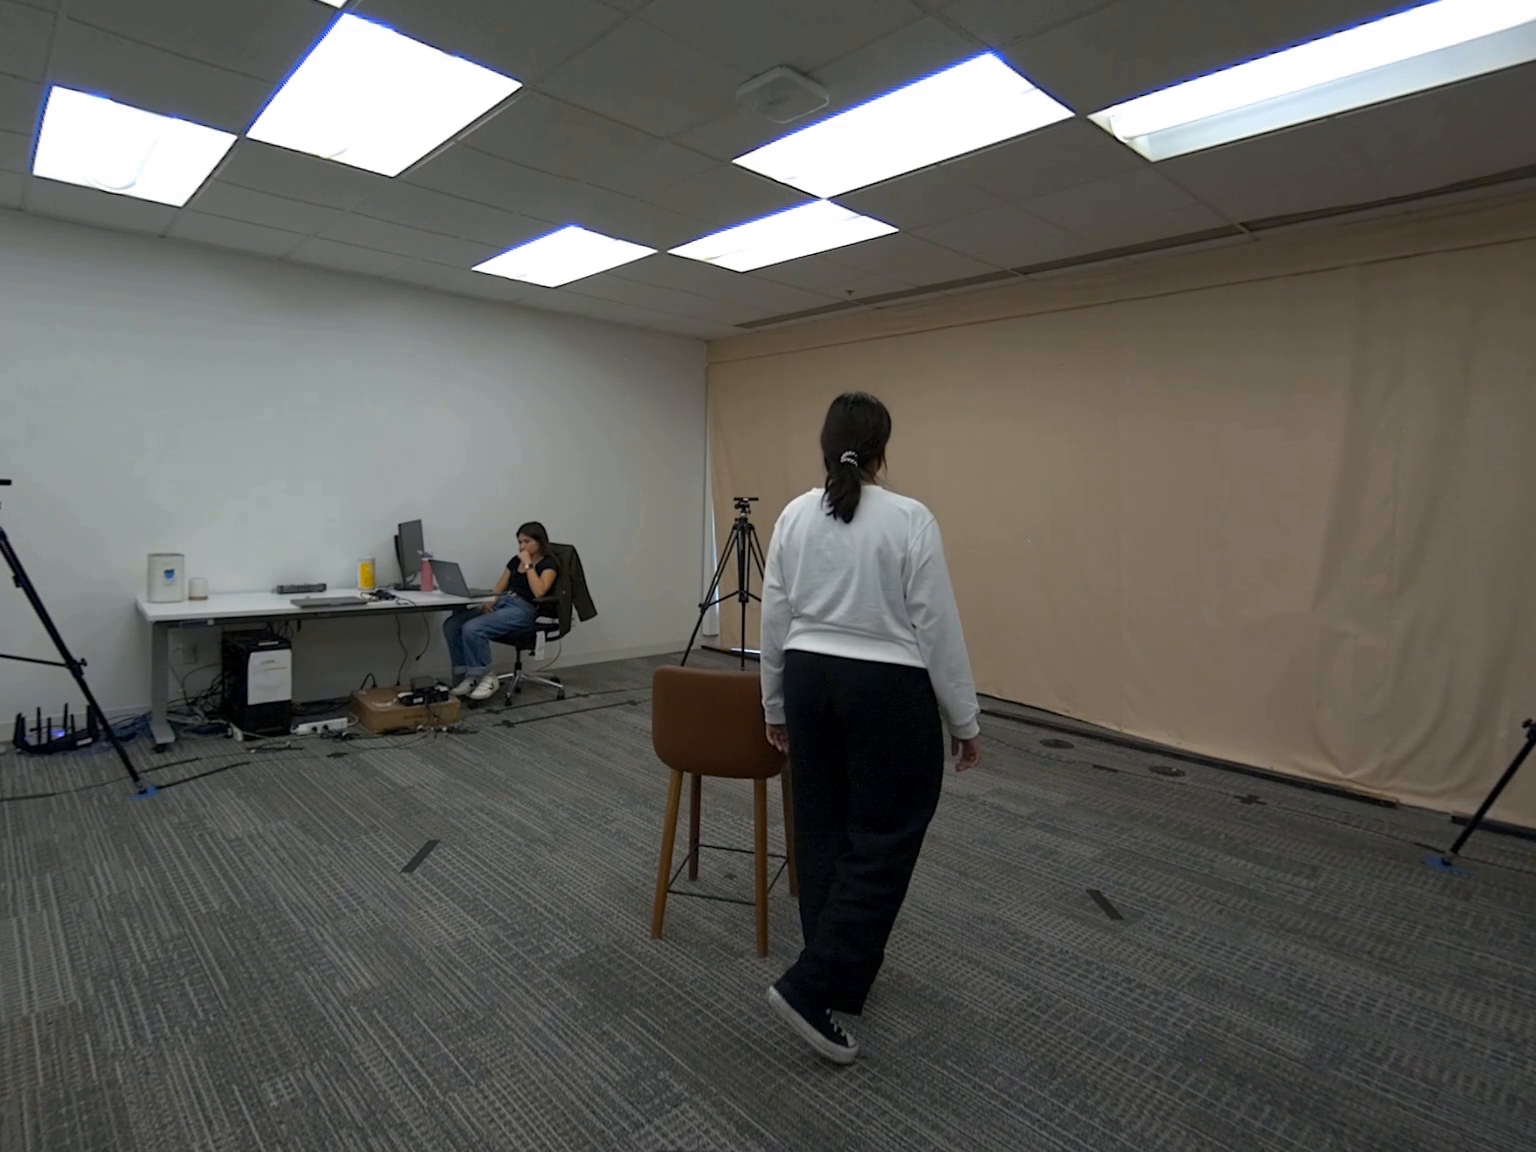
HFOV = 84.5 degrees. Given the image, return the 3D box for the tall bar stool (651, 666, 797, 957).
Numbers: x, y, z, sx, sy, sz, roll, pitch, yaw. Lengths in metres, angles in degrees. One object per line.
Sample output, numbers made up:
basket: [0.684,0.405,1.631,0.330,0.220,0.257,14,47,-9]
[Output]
tall bar stool: [-0.135,0.703,2.785,0.462,0.886,0.463,2,5,15]
